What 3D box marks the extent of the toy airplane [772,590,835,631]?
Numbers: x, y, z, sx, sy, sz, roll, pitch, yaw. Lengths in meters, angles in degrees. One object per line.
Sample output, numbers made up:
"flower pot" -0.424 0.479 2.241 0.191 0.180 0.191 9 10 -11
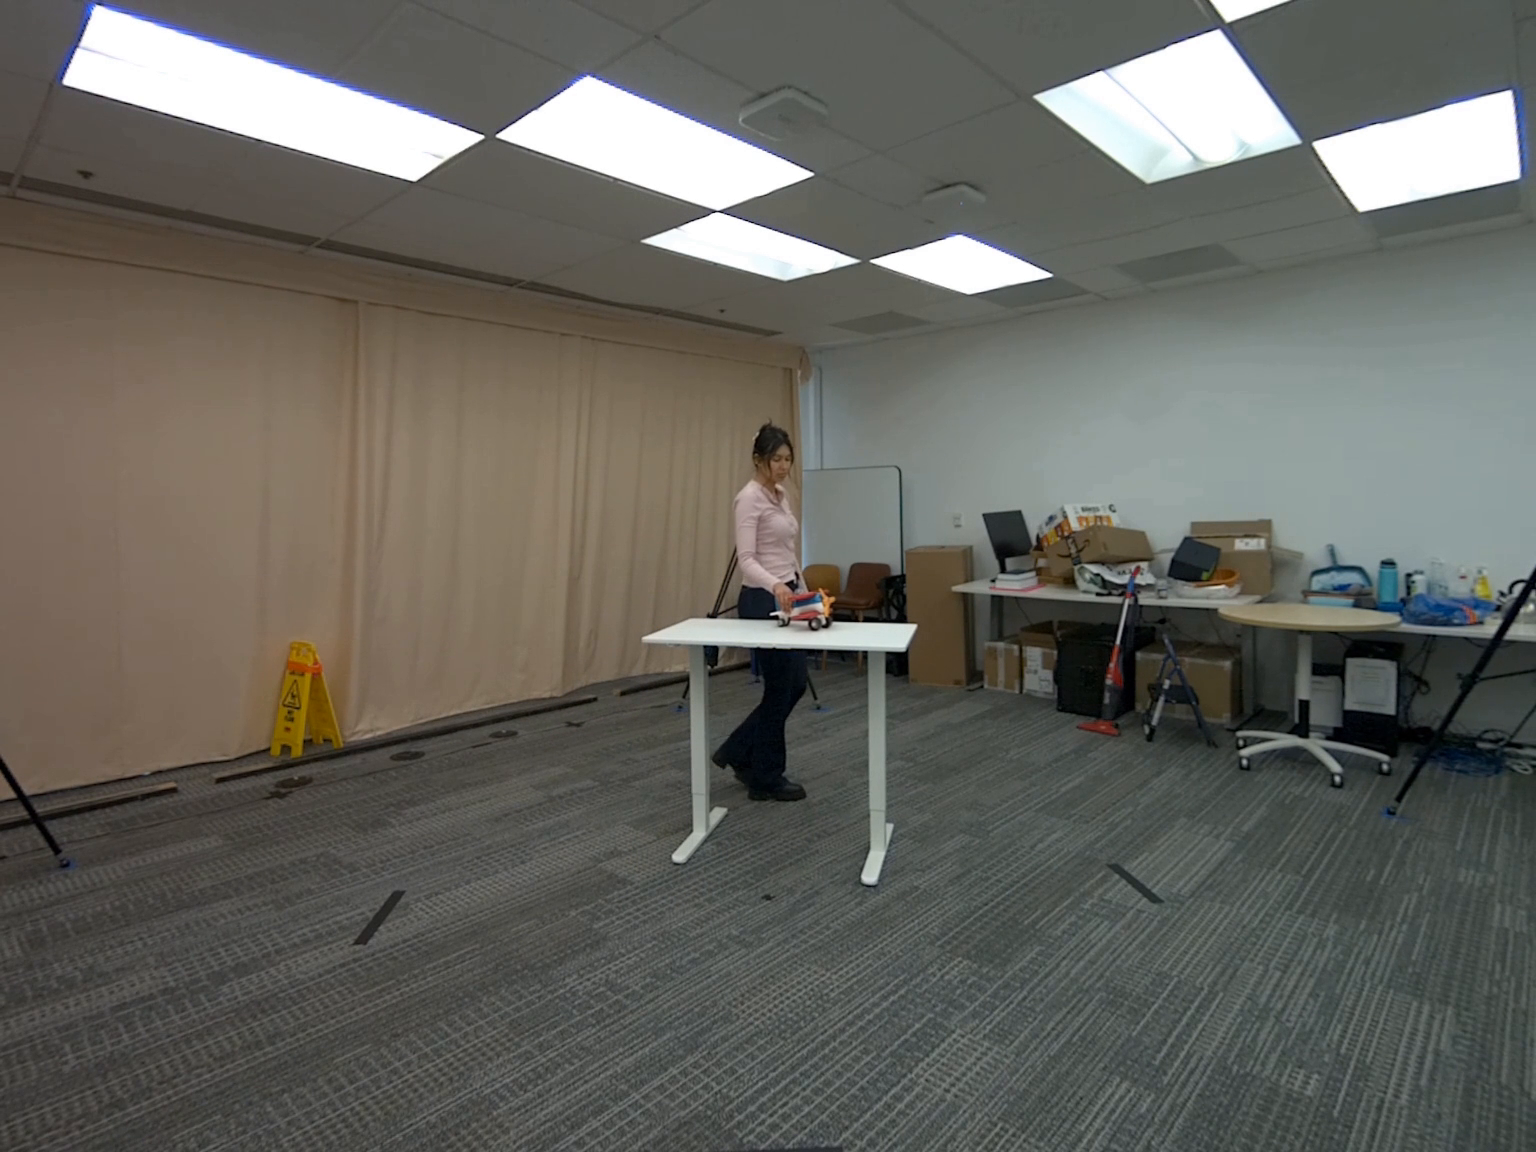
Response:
"toy airplane" 0.136 0.140 3.460 0.261 0.156 0.249 0 3 6
